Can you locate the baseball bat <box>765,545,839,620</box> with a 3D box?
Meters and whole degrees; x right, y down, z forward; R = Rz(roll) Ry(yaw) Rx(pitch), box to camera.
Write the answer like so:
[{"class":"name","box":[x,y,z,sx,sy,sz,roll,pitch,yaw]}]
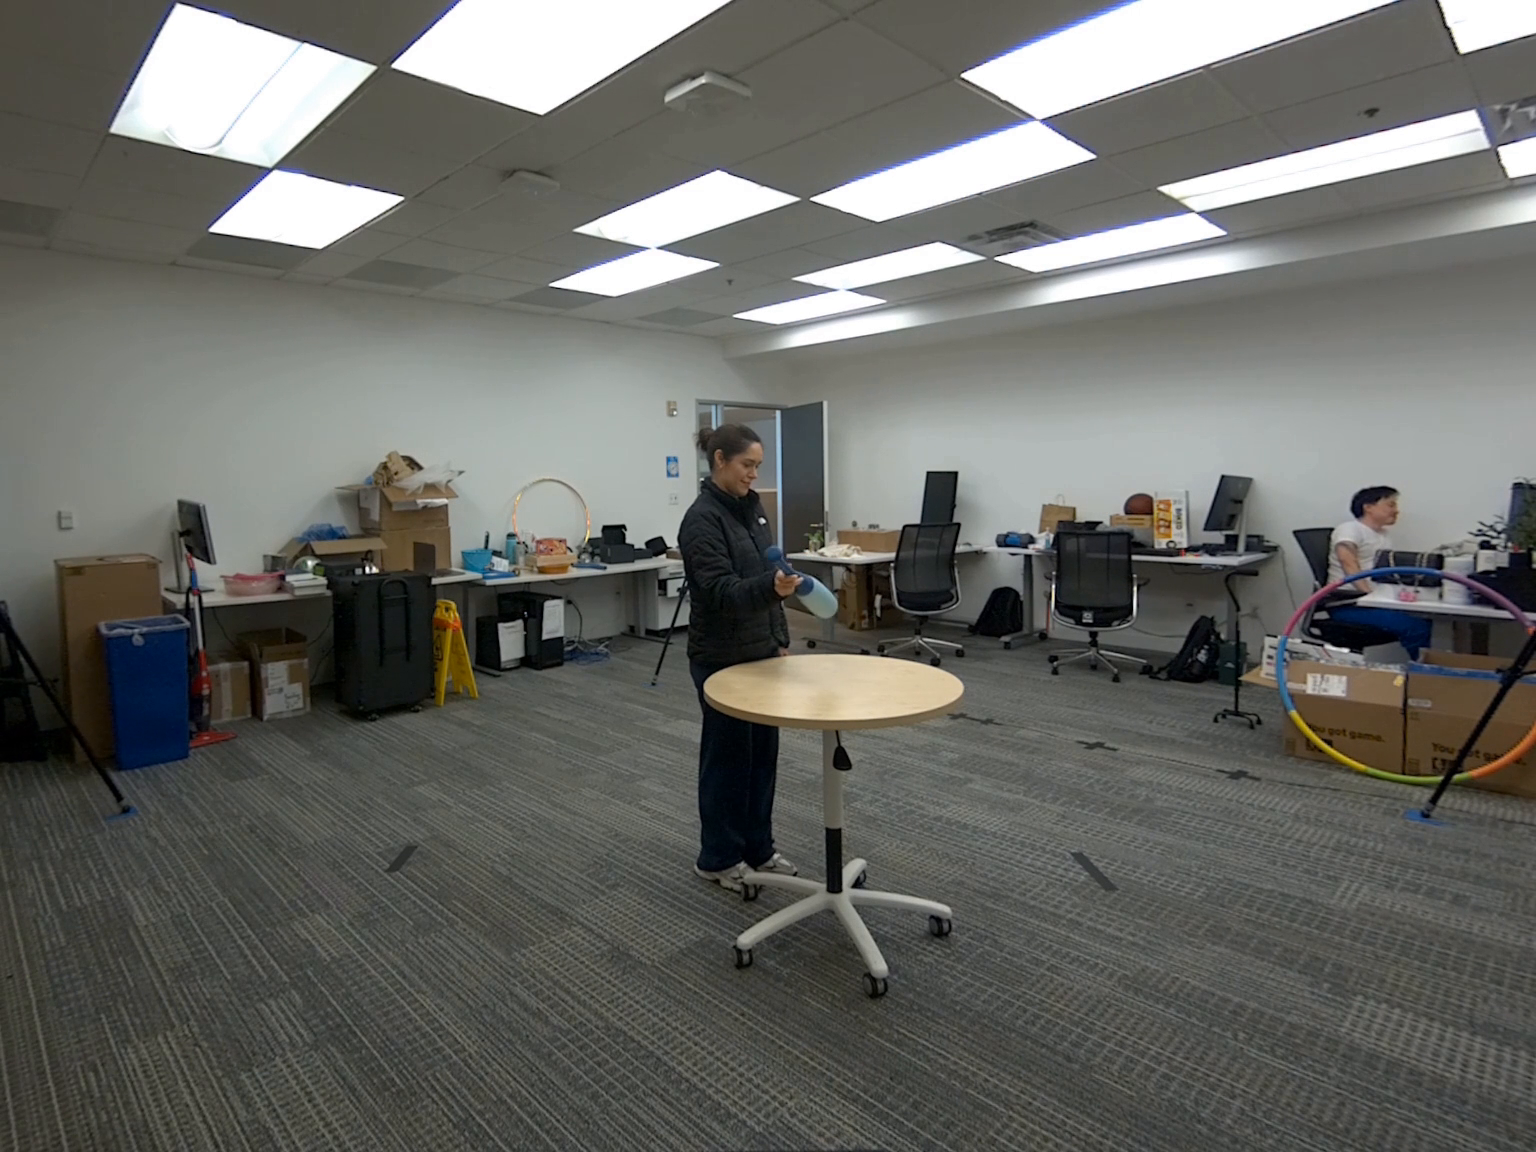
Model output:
[{"class":"baseball bat","box":[0.103,0.019,2.591,0.091,0.090,0.525,1,-17,21]}]
